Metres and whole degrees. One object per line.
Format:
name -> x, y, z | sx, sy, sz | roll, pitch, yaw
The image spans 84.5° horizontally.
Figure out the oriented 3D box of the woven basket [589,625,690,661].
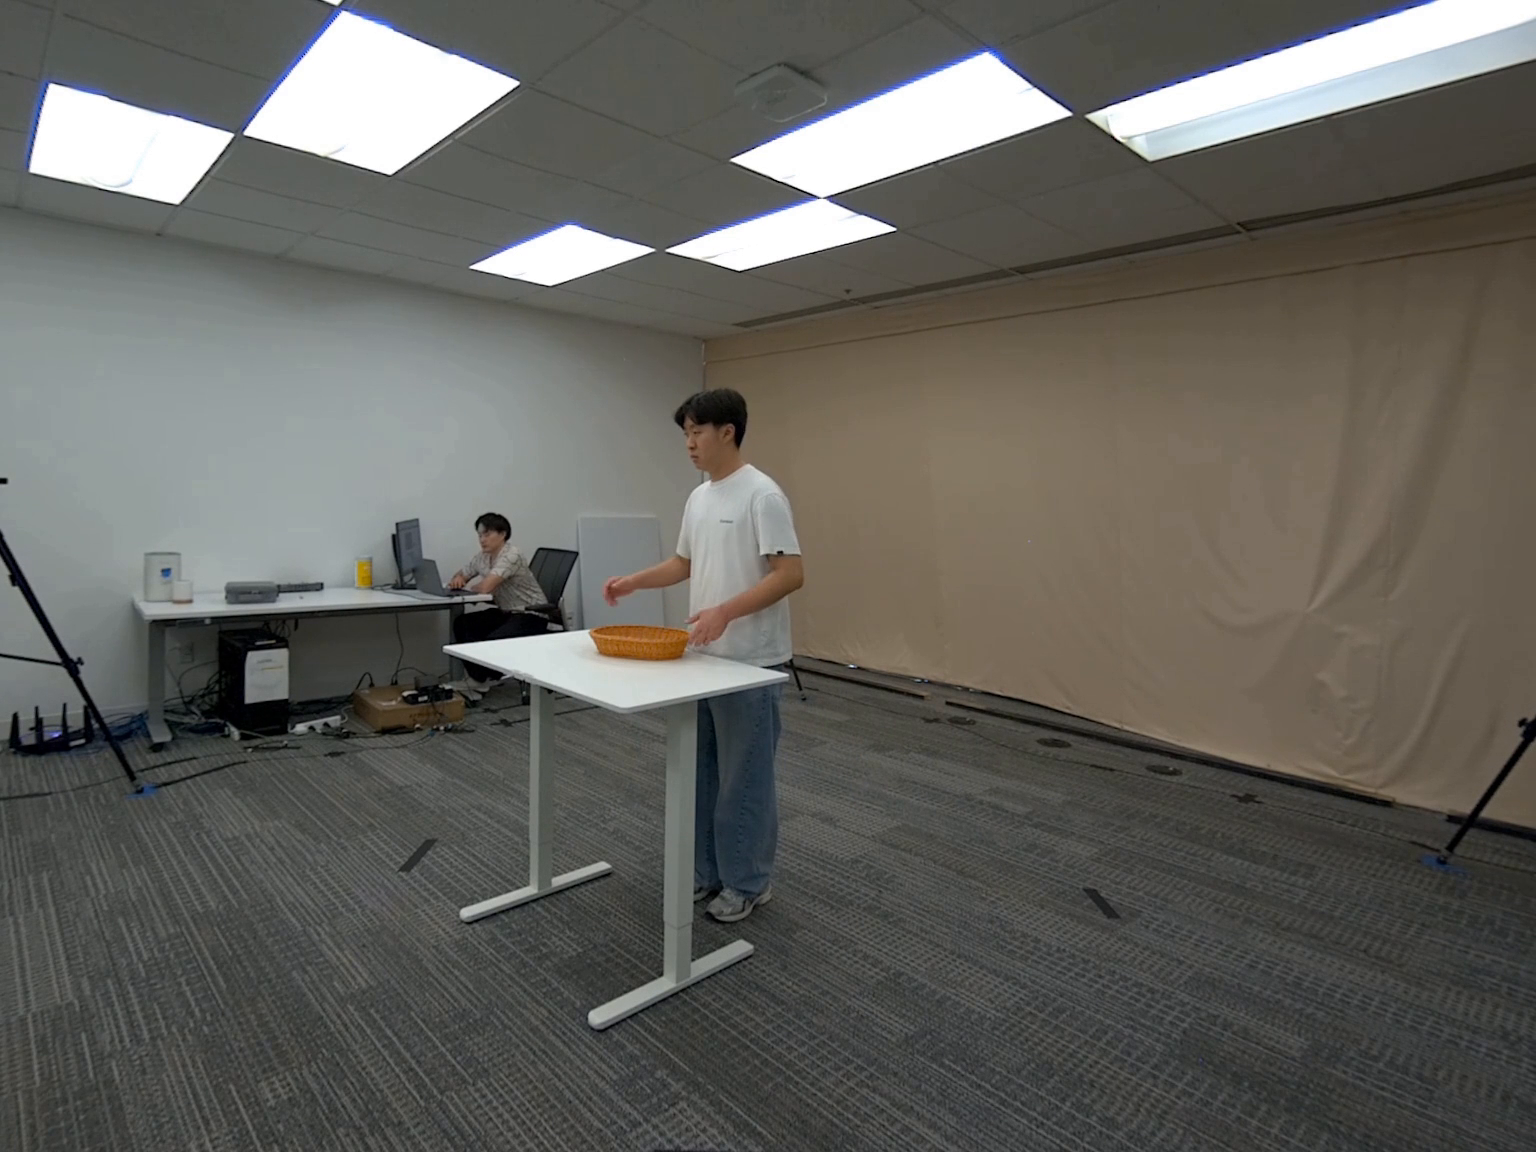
woven basket -> -0.413, 0.223, 2.702 | 0.355, 0.073, 0.249 | 3, 6, 18
